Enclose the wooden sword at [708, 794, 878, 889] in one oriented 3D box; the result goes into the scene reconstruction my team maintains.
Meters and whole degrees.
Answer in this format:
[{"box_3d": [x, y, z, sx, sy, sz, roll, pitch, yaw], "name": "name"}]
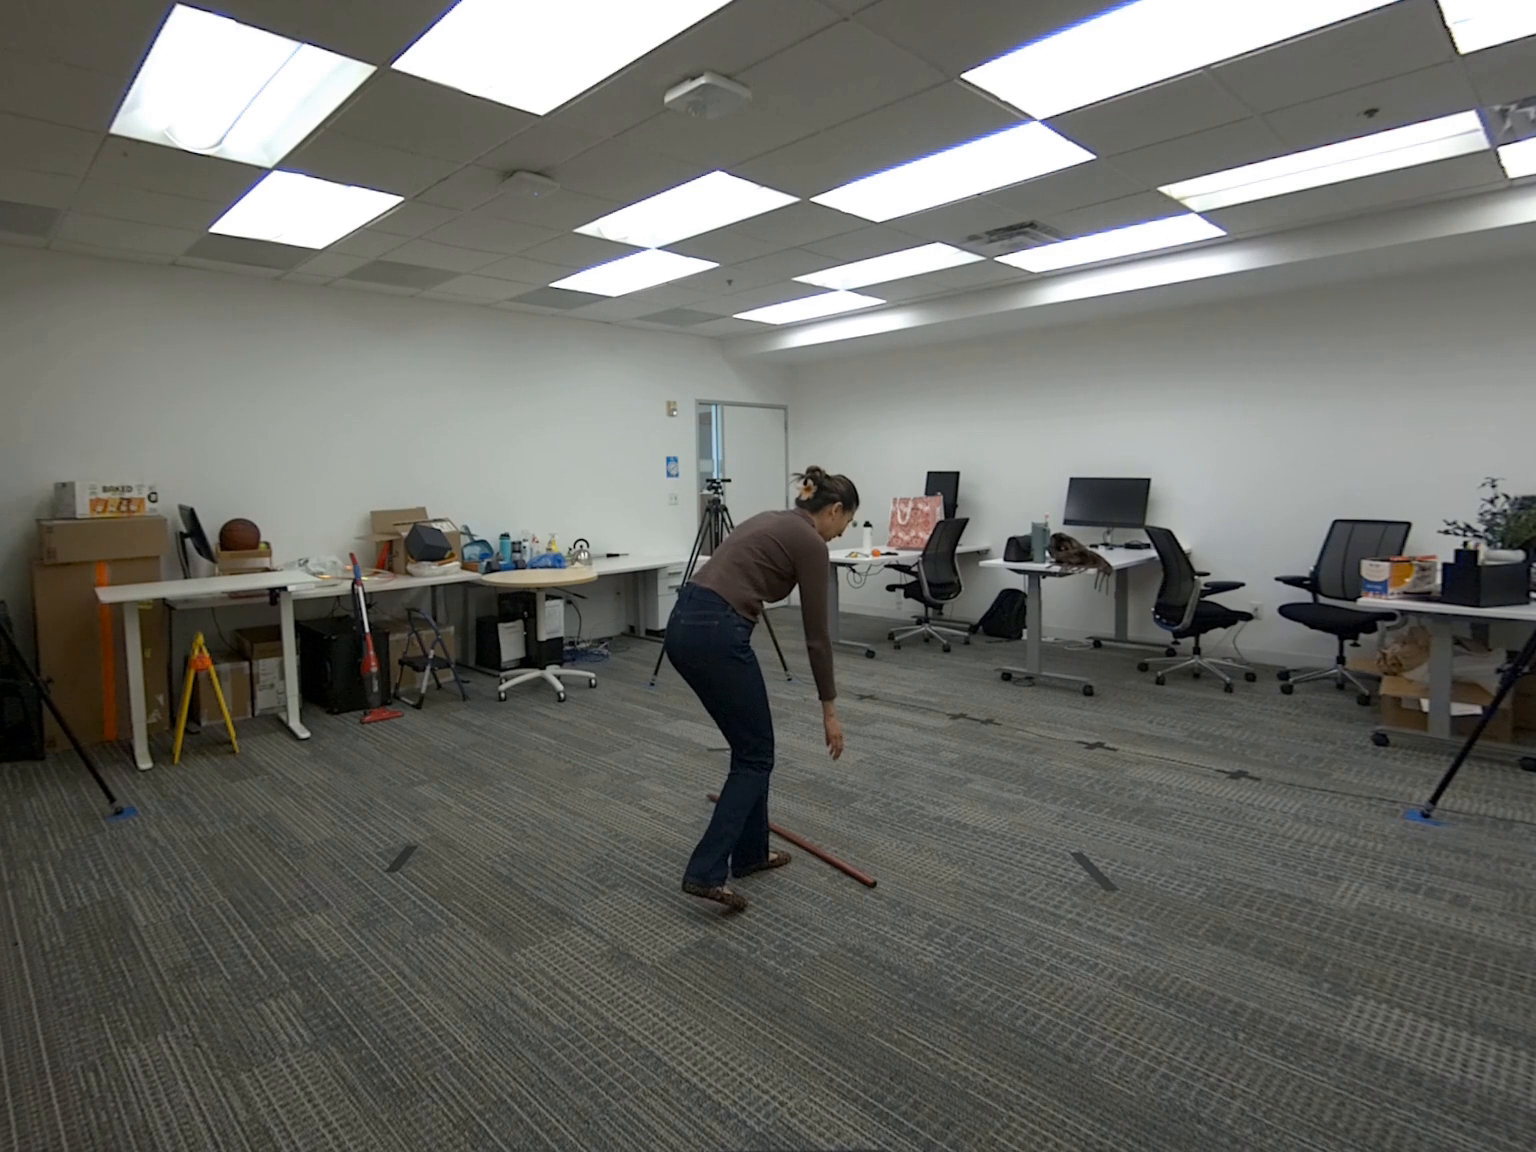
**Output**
[{"box_3d": [0.050, 0.994, 3.326, 0.049, 0.024, 1.055, 48, -22, -29], "name": "wooden sword"}]
